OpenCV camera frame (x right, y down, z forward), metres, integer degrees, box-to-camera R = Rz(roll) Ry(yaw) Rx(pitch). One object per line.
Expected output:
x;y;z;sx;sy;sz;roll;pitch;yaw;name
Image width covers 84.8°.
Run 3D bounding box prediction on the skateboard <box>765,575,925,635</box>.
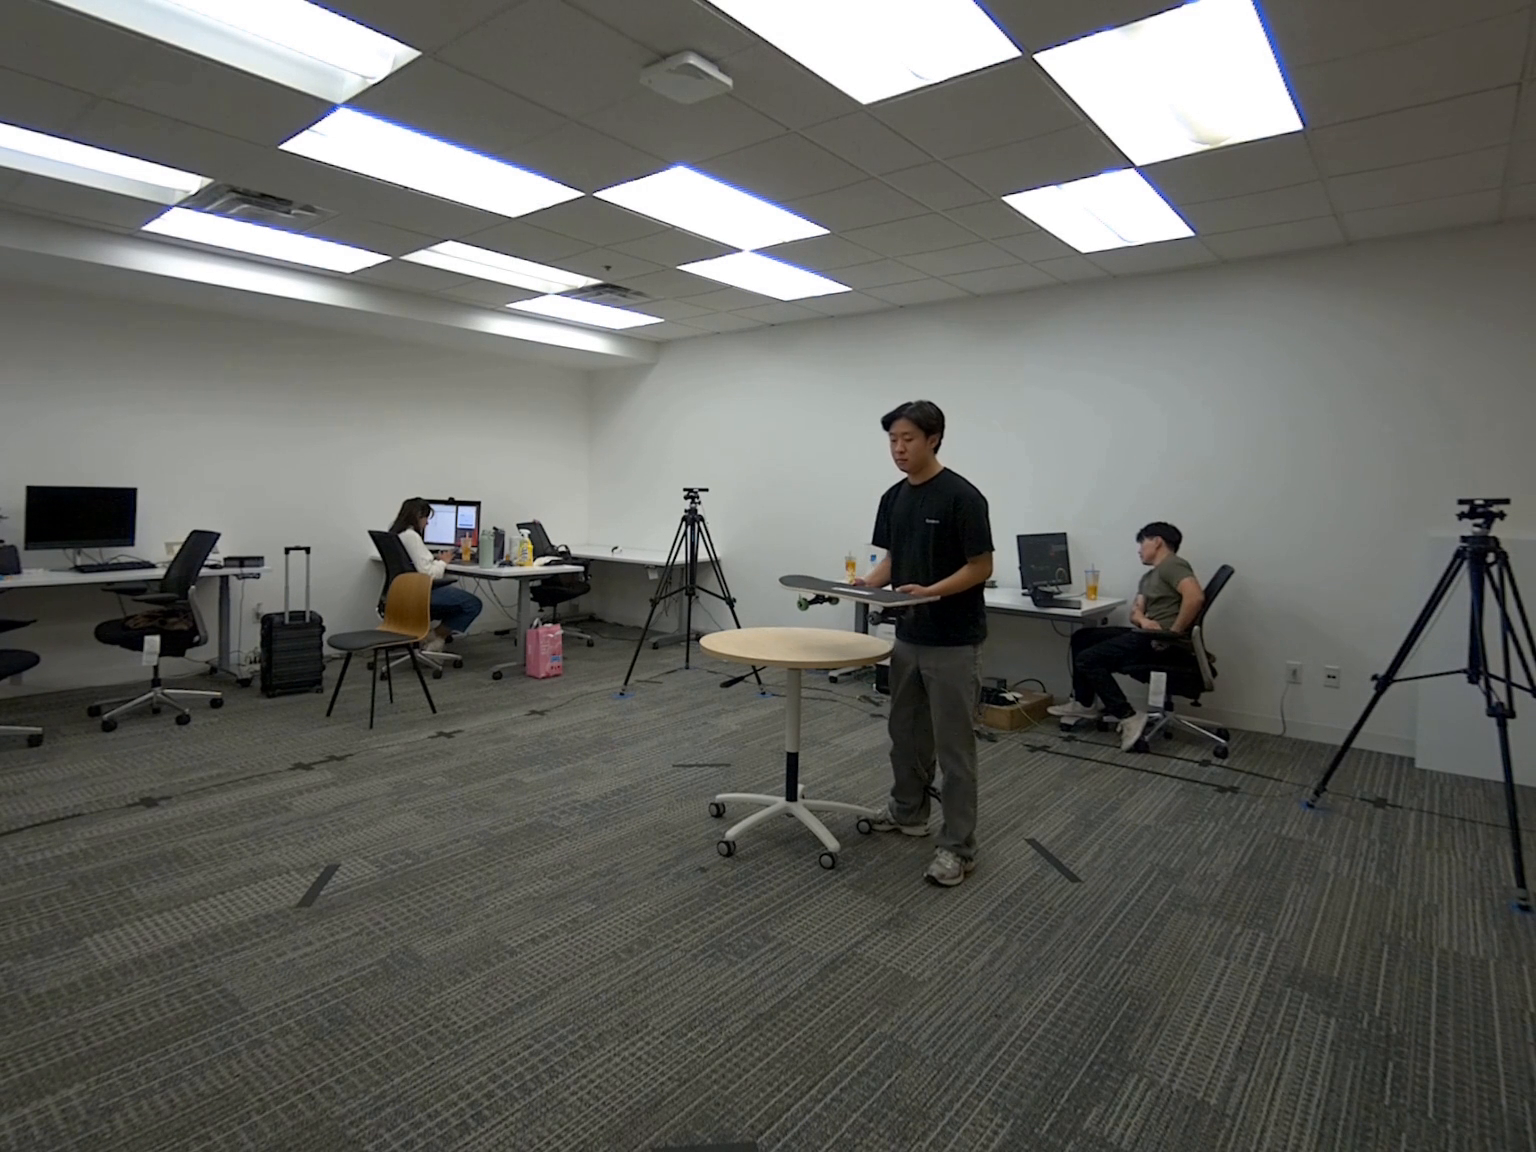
0.300;0.097;3.085;0.189;0.109;0.811;-9;10;-33;skateboard
